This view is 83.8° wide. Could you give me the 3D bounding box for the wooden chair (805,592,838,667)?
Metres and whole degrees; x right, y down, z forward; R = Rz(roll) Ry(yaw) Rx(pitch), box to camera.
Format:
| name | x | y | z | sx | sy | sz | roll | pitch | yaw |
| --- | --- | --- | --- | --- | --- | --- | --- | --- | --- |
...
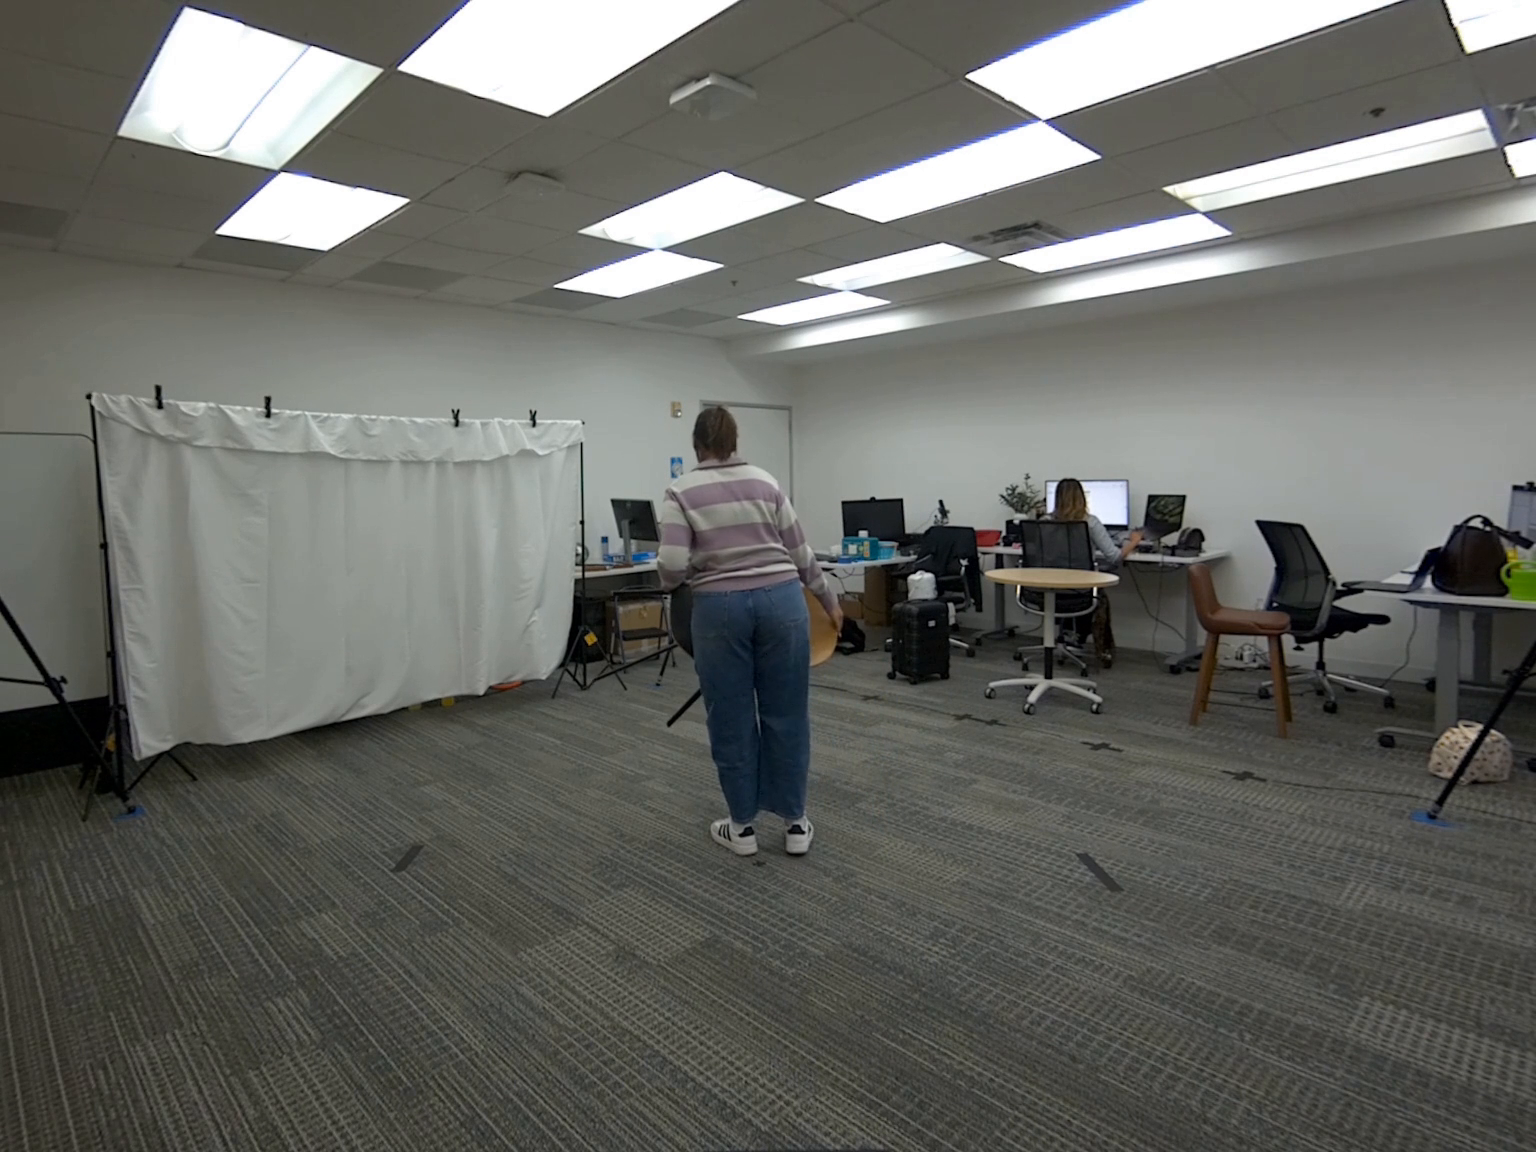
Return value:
| name | x | y | z | sx | sy | sz | roll | pitch | yaw |
| --- | --- | --- | --- | --- | --- | --- | --- | --- | --- |
| wooden chair | -0.219 | 0.213 | 3.477 | 0.890 | 0.489 | 0.503 | -20 | -46 | 30 |
